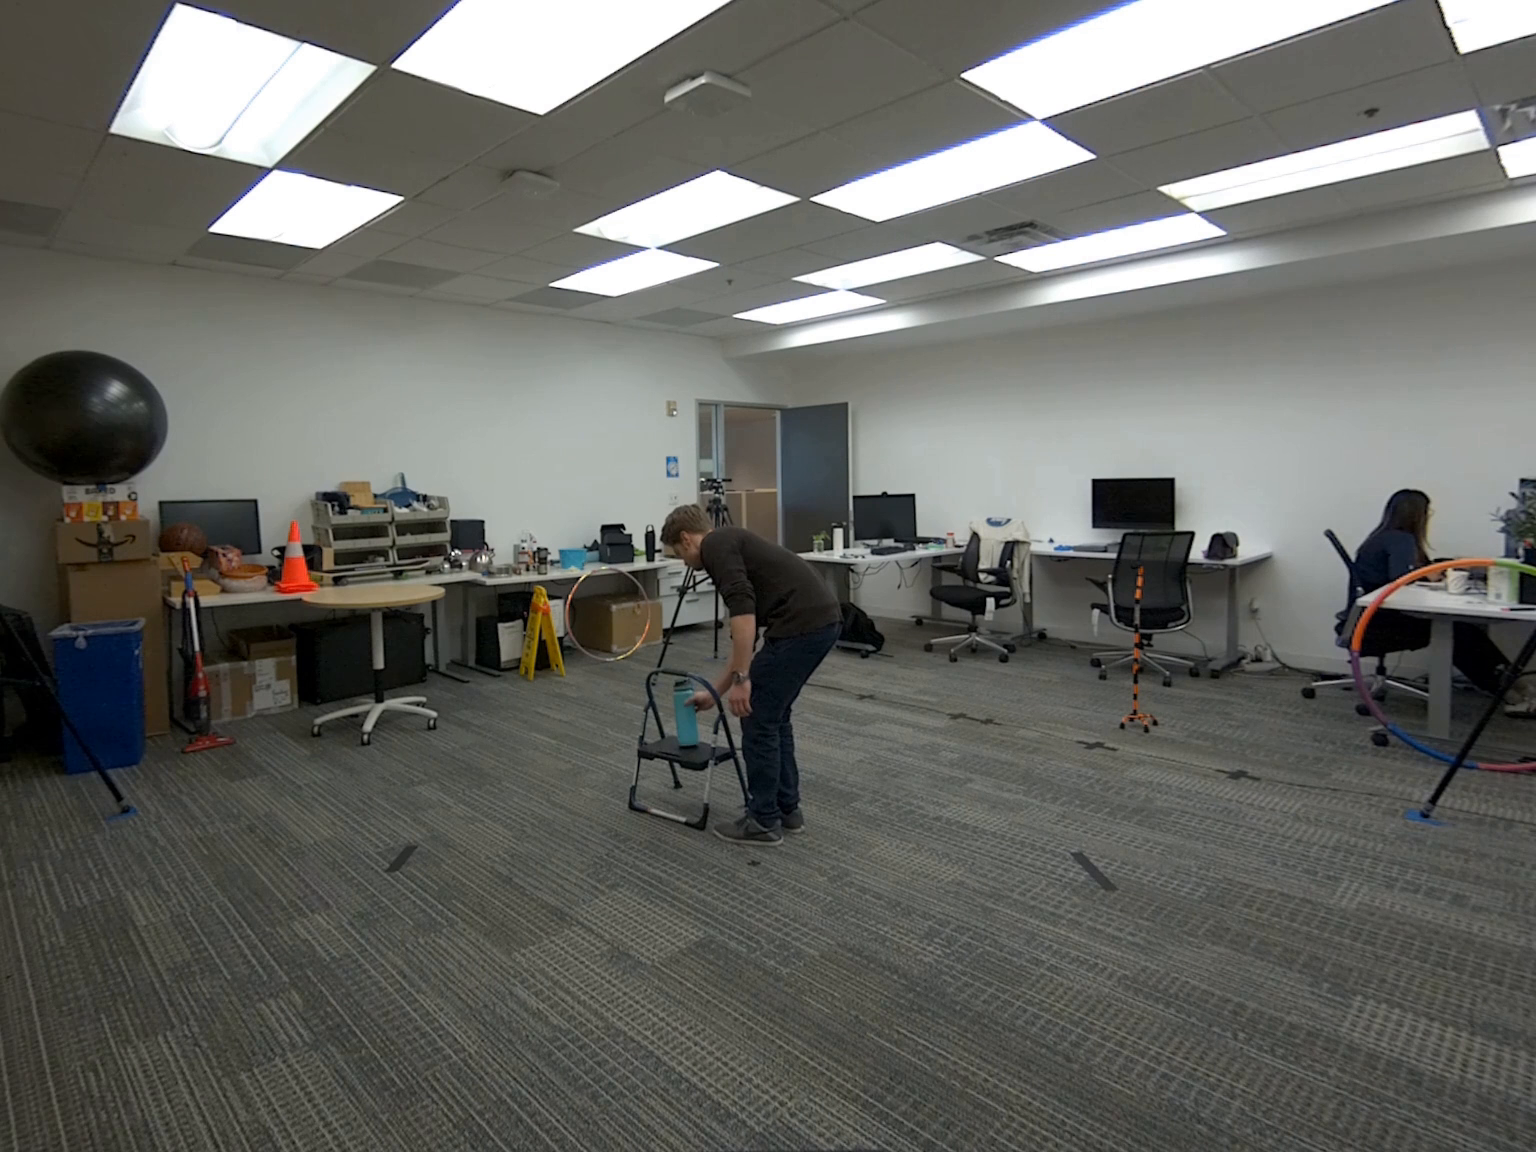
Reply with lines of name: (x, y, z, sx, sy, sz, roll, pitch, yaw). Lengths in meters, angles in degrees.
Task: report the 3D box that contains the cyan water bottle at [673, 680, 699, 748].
cyan water bottle: (-0.351, 0.576, 3.665, 0.092, 0.285, 0.092, -6, -6, -2)
